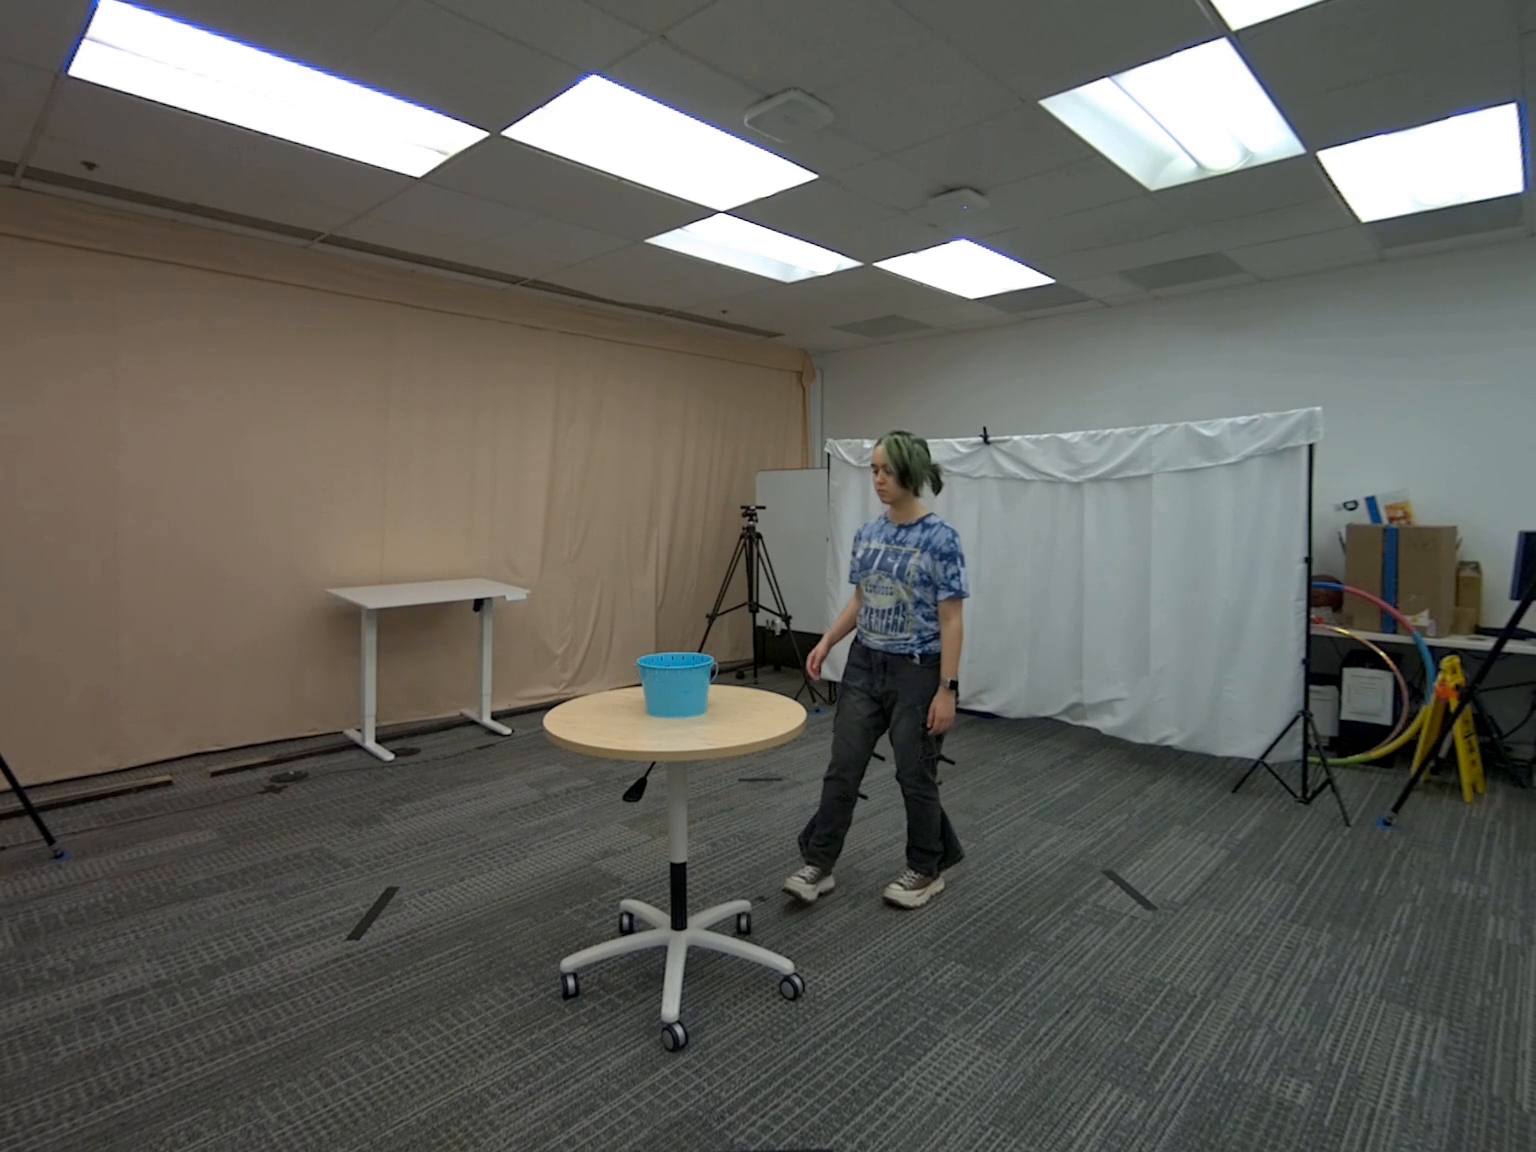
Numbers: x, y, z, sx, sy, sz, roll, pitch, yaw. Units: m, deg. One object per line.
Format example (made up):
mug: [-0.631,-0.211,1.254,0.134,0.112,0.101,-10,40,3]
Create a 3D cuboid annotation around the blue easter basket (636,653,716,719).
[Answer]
blue easter basket: [-0.267,0.327,2.495,0.243,0.155,0.244,-1,5,-2]
